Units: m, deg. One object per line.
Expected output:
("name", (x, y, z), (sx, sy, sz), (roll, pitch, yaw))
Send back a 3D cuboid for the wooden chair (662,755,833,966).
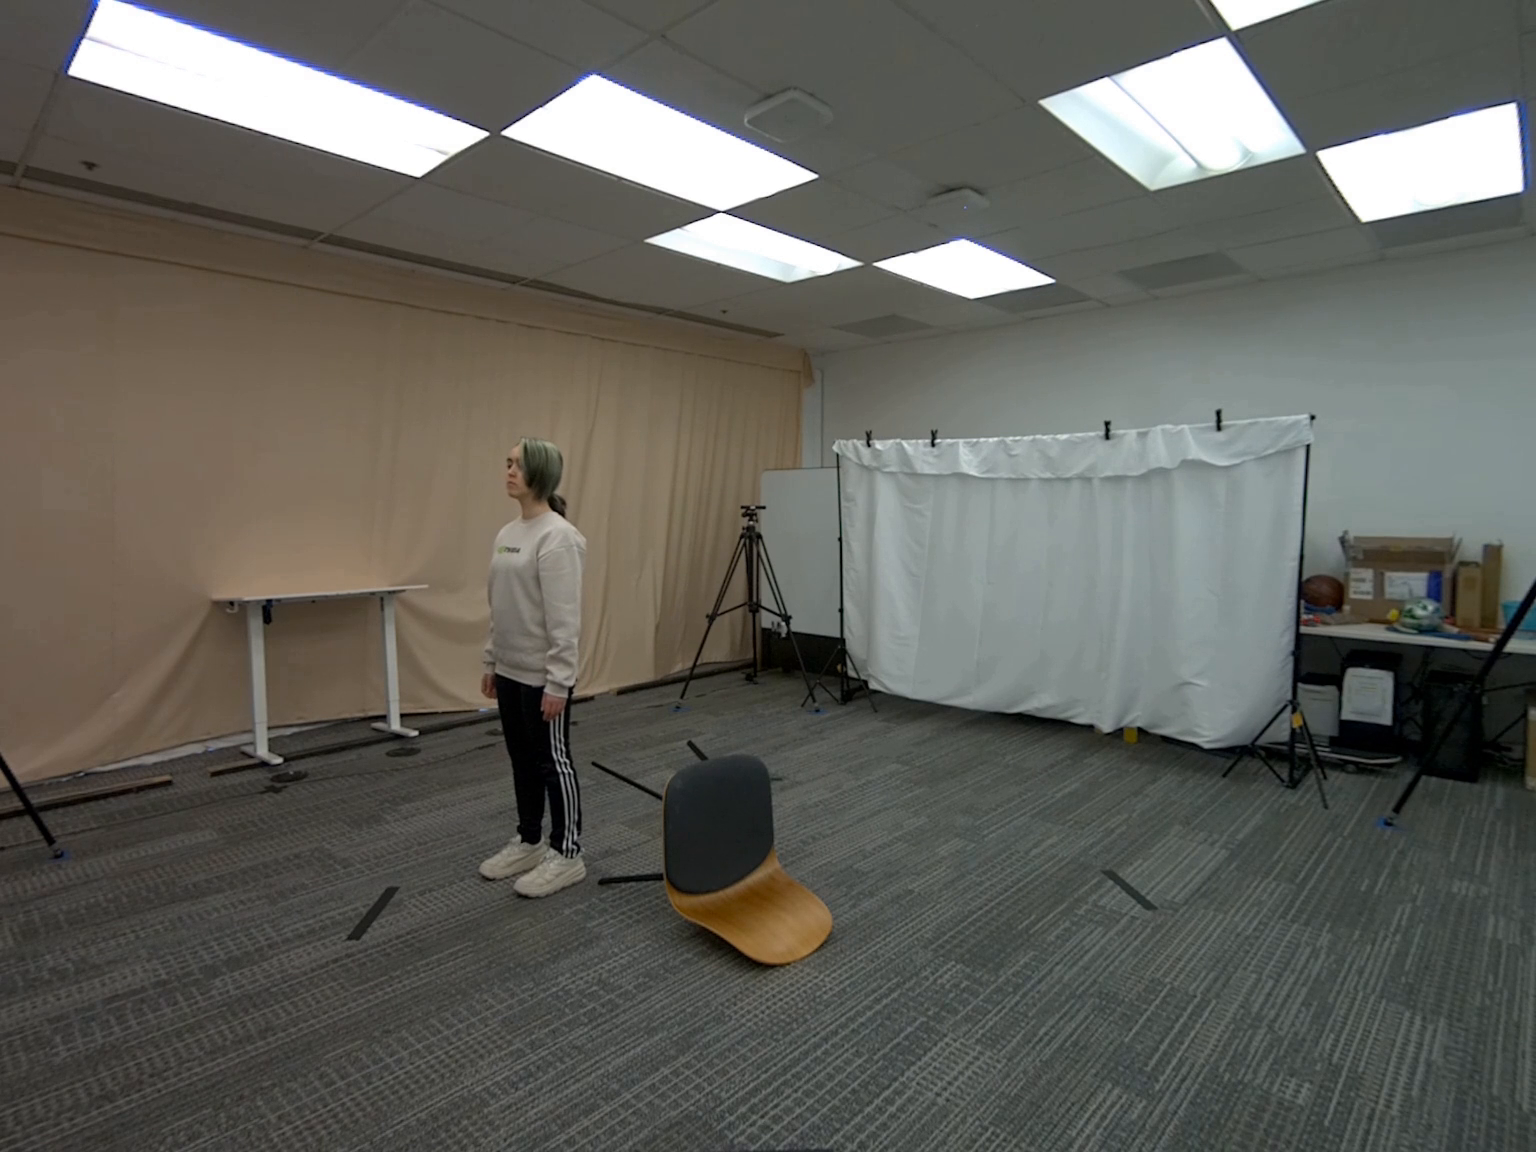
("wooden chair", (-0.189, 0.895, 2.907), (0.464, 0.521, 0.907), (-4, 7, -39))
